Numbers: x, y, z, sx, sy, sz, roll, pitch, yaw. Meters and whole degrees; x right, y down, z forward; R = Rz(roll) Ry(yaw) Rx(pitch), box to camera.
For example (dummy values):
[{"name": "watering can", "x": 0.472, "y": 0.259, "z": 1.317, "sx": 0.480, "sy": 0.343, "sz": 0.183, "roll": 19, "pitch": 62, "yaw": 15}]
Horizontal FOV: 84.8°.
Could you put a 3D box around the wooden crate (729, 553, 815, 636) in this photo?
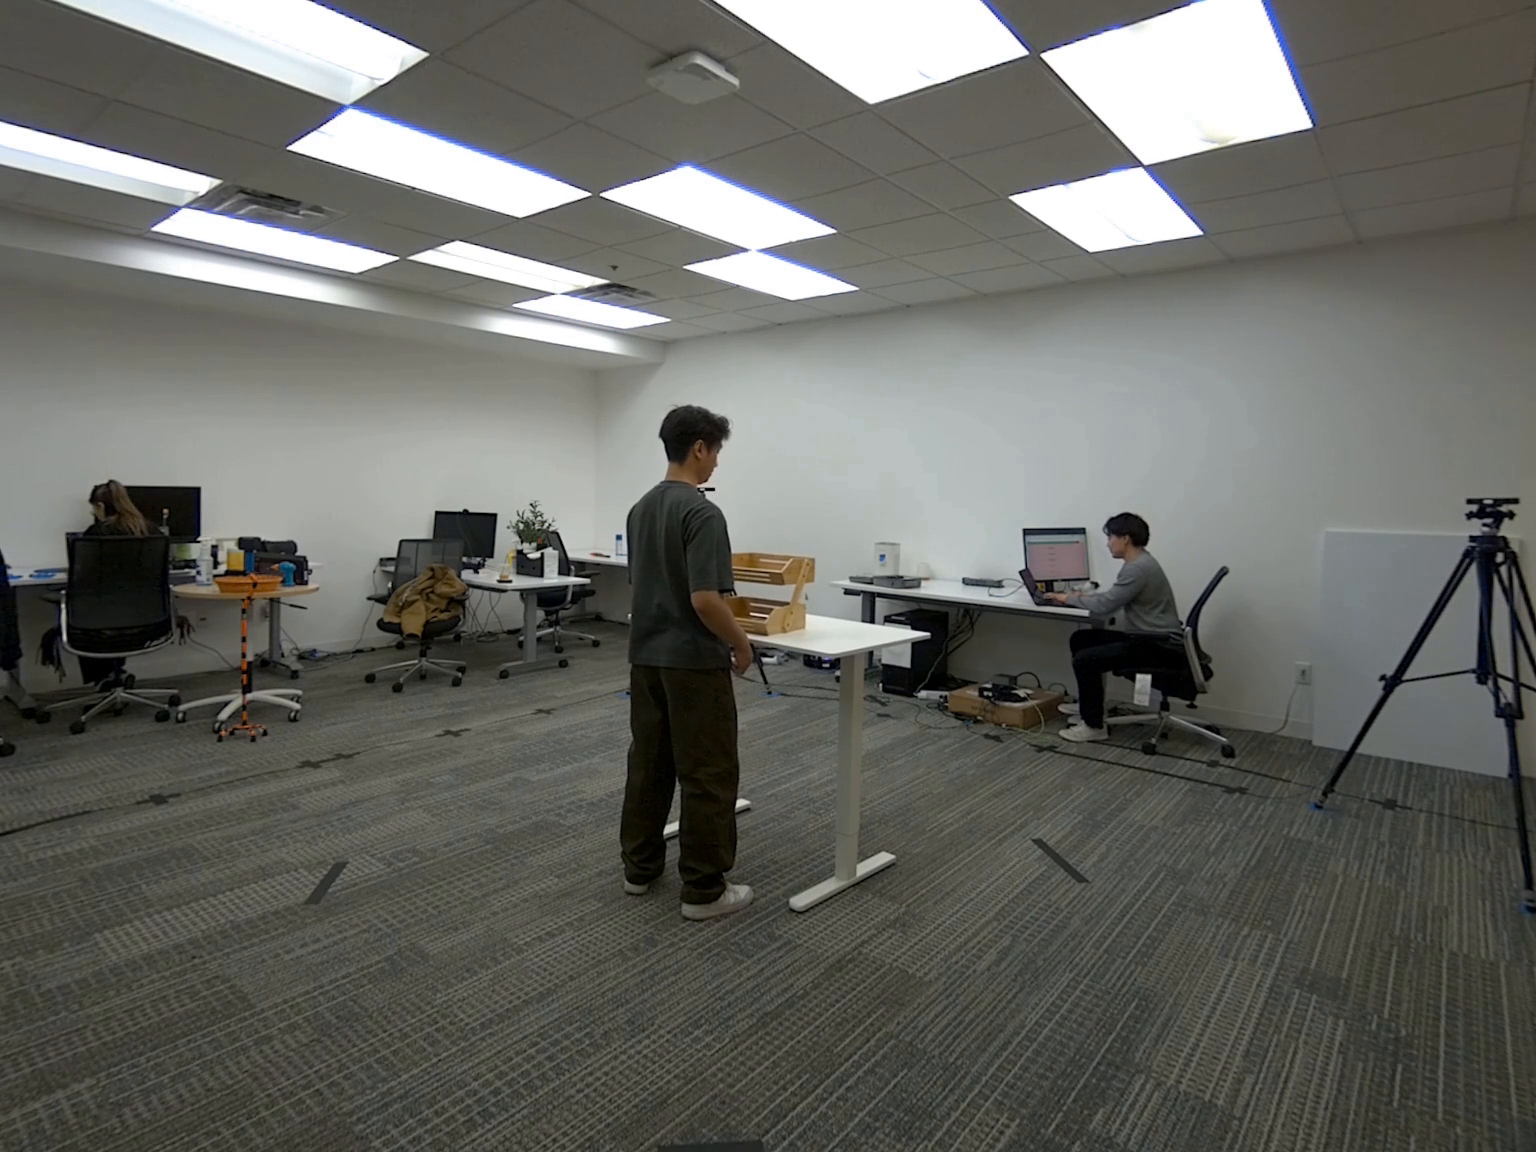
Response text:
[{"name": "wooden crate", "x": -0.046, "y": 0.051, "z": 3.144, "sx": 0.335, "sy": 0.272, "sz": 0.293, "roll": 5, "pitch": 5, "yaw": 37}]
